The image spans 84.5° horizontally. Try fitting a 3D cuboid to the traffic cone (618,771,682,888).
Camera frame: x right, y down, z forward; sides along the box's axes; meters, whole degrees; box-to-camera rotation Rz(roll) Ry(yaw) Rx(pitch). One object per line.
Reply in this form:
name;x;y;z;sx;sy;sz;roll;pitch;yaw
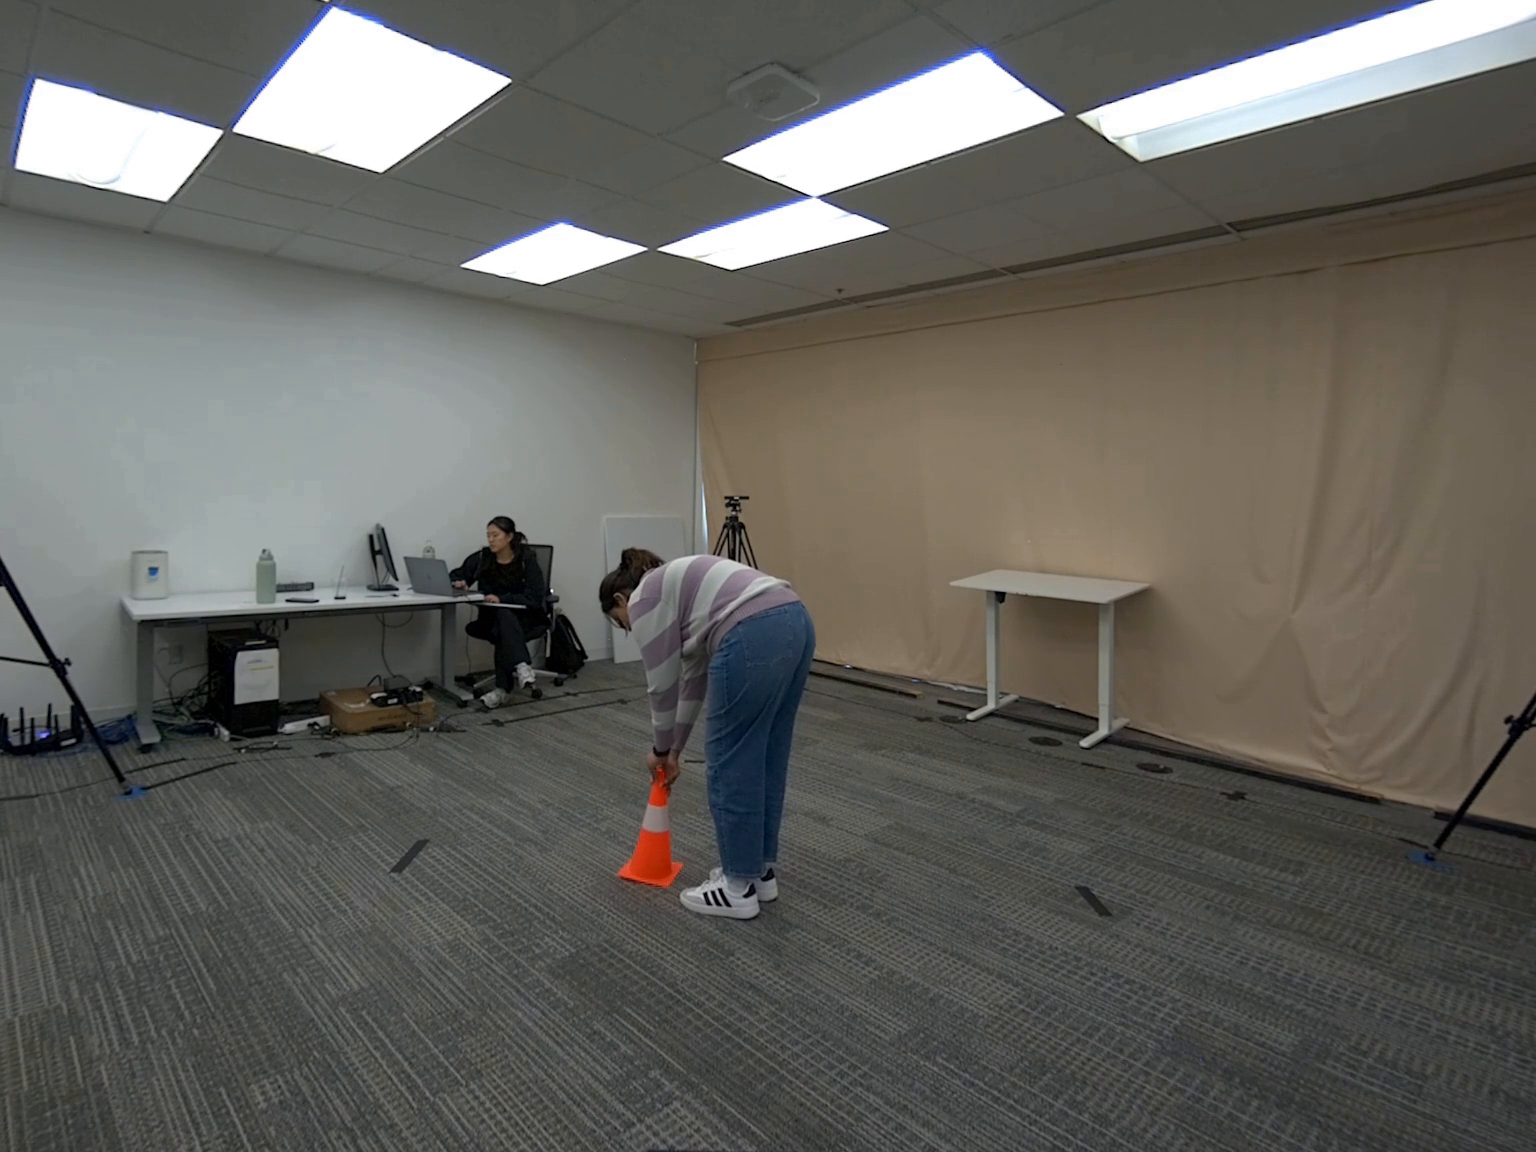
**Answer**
traffic cone;-0.422;0.909;3.100;0.205;0.382;0.203;6;5;12
